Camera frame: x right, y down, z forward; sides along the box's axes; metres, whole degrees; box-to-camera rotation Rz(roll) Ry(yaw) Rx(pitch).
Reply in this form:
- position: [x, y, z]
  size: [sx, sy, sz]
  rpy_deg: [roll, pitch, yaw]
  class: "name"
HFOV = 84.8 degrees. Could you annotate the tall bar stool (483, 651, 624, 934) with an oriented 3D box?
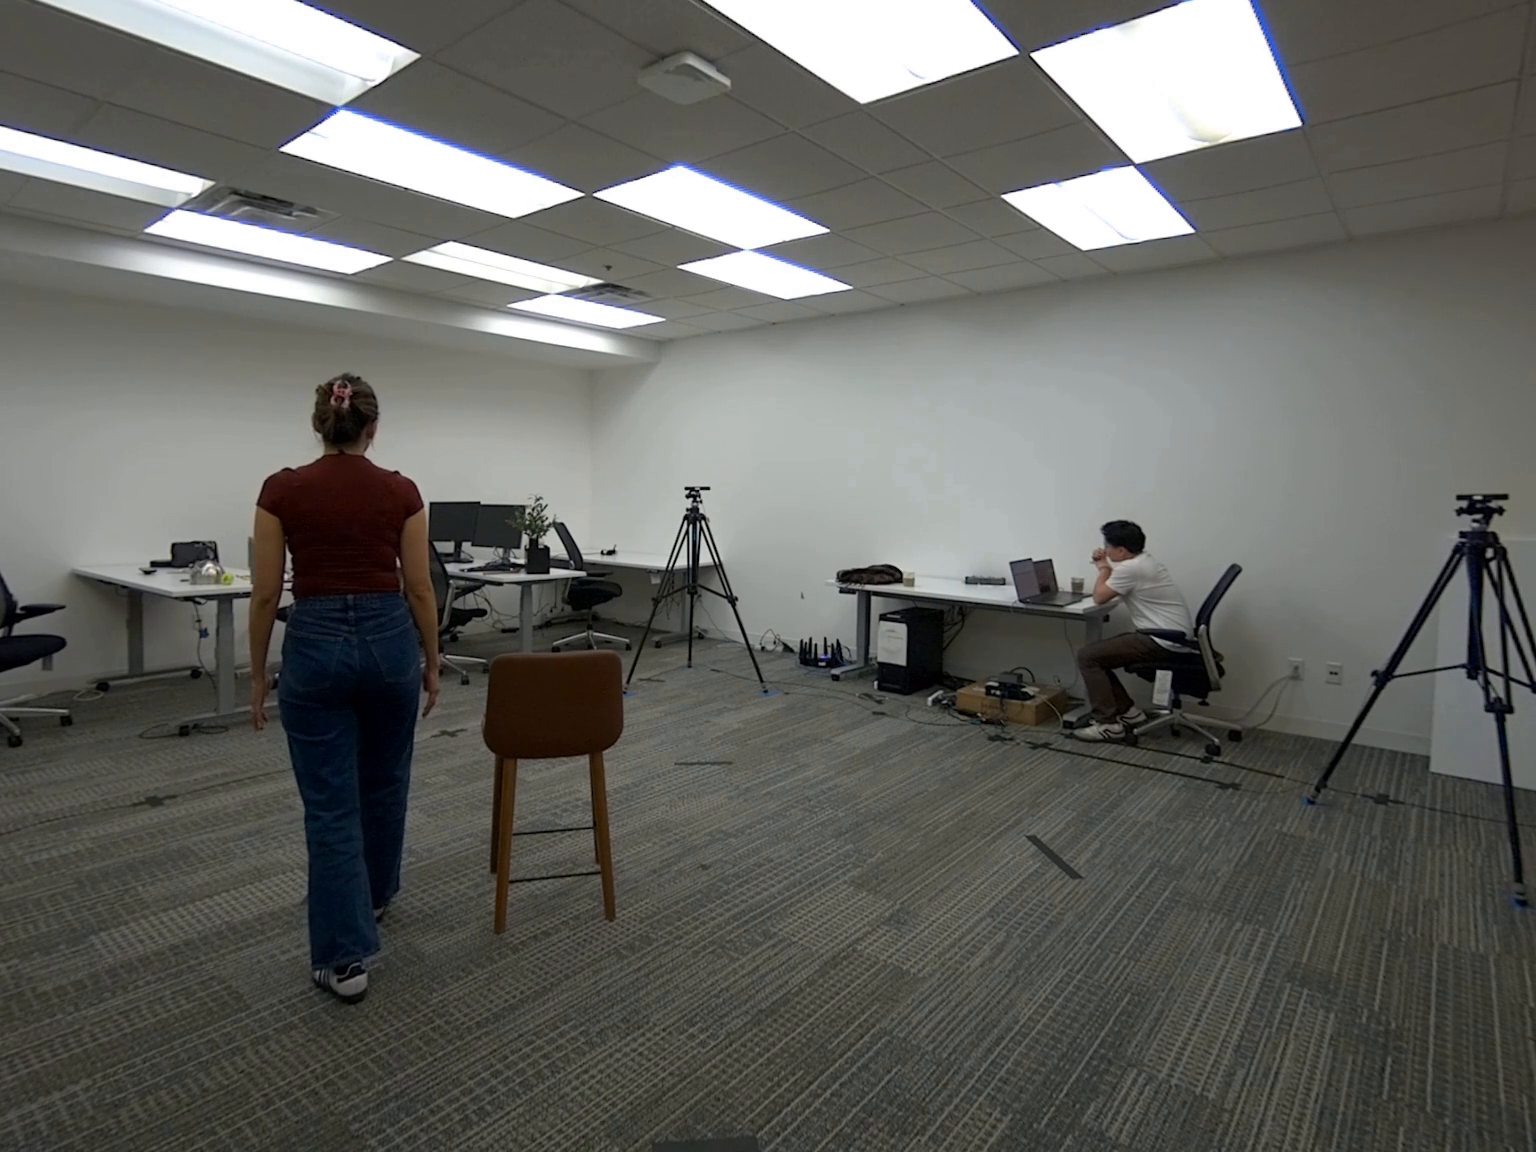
- position: [-0.745, 0.650, 2.864]
  size: [0.449, 0.886, 0.478]
  rpy_deg: [-1, 5, -17]
  class: "tall bar stool"
